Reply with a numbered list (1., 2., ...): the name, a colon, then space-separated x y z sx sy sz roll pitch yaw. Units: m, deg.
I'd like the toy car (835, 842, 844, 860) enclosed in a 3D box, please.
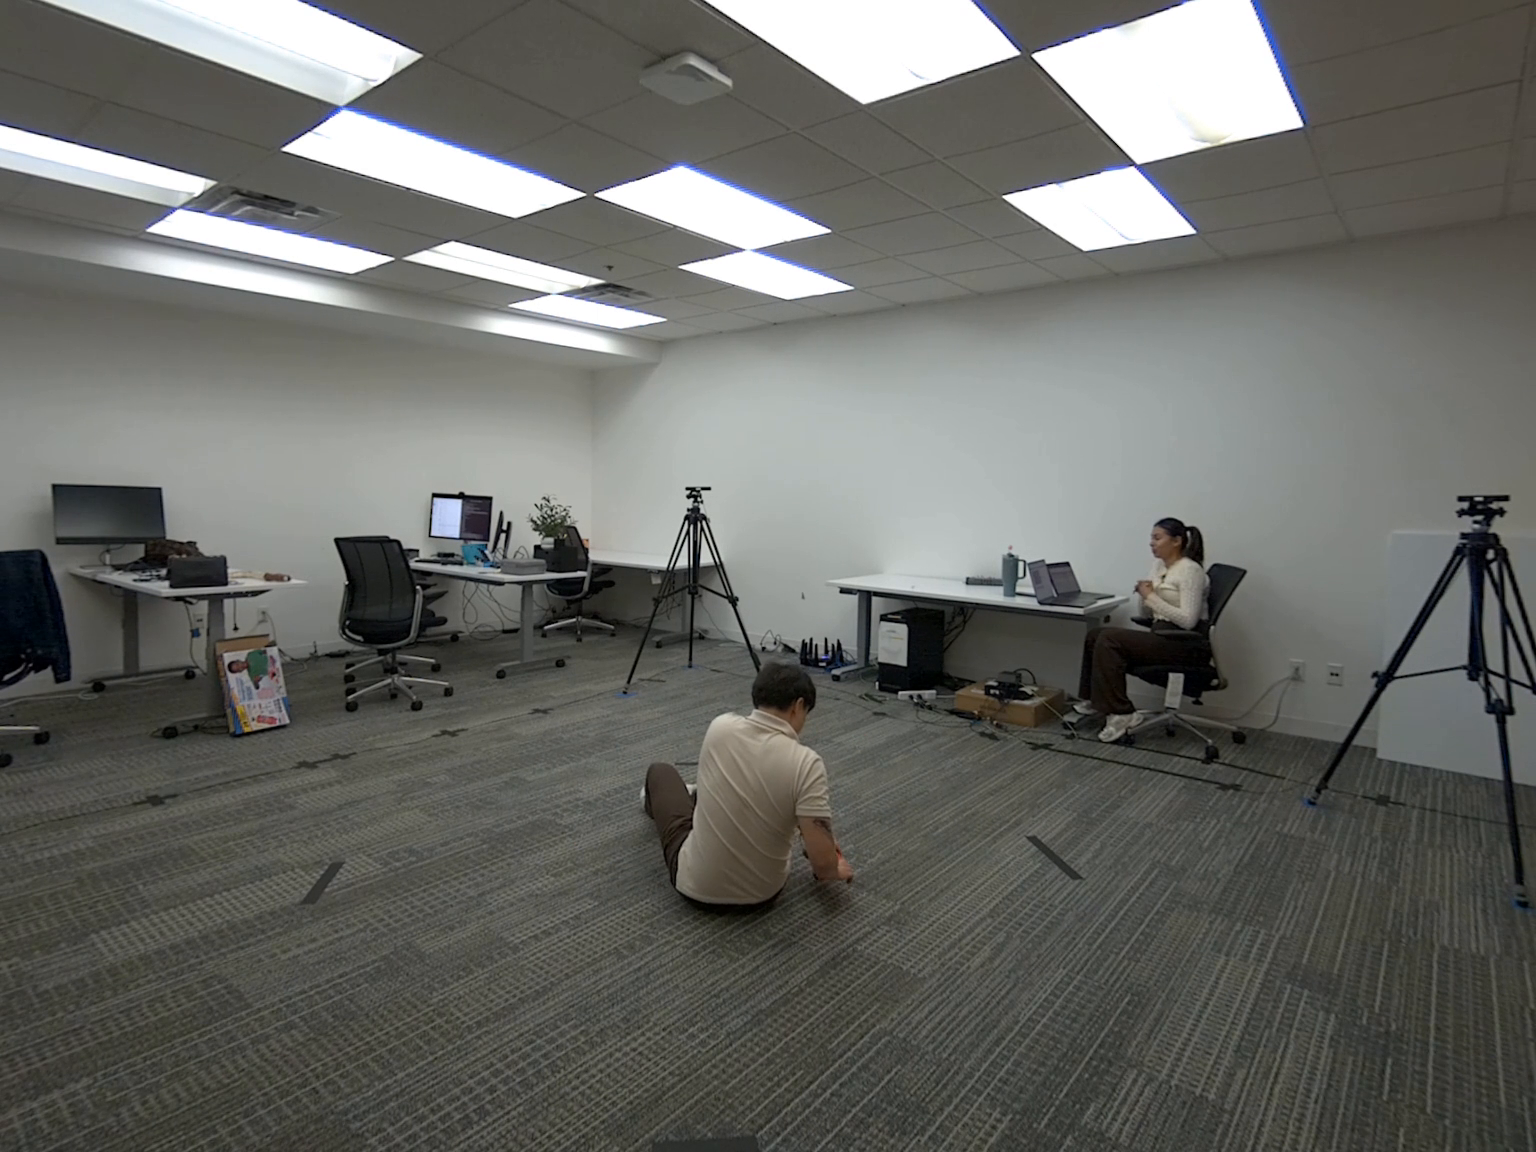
1. toy car: 0.194 0.997 2.962 0.129 0.083 0.257 -5 3 -10
